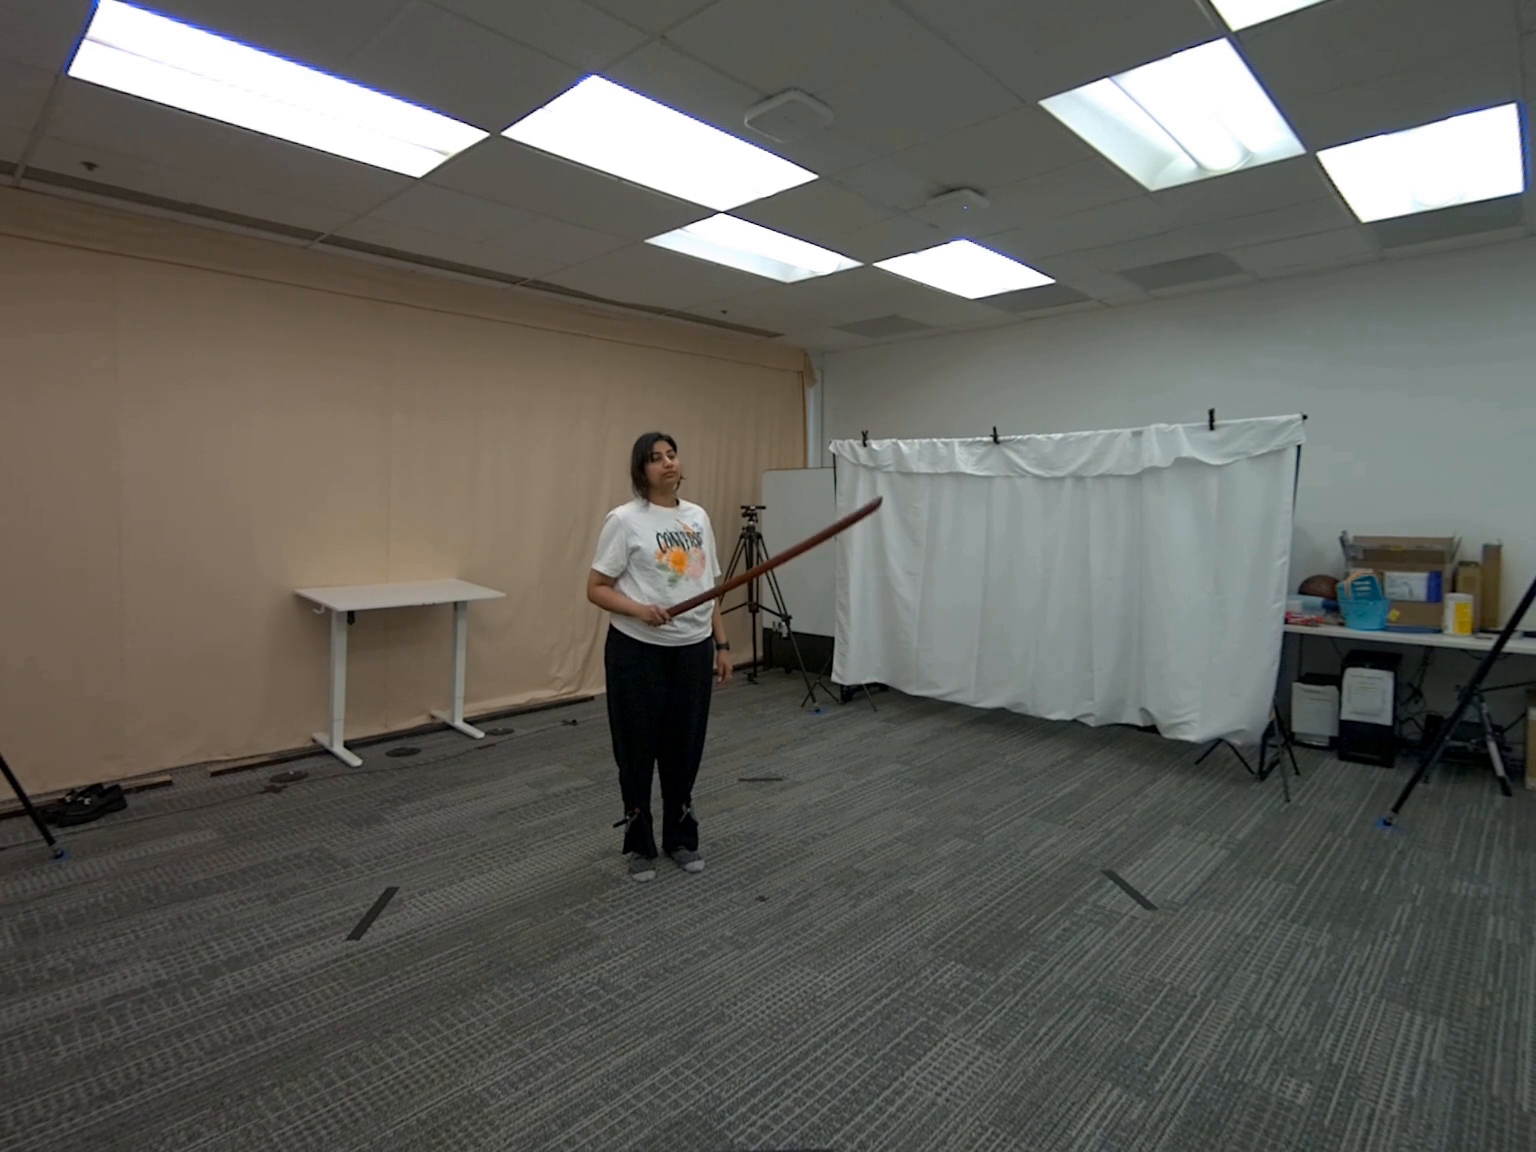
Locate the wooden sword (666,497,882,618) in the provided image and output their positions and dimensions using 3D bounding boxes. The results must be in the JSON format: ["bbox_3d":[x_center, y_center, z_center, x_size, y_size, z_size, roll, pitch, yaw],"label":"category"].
[{"bbox_3d":[-0.037,-0.018,2.695,1.043,0.024,0.050,-28,-6,36],"label":"wooden sword"}]
